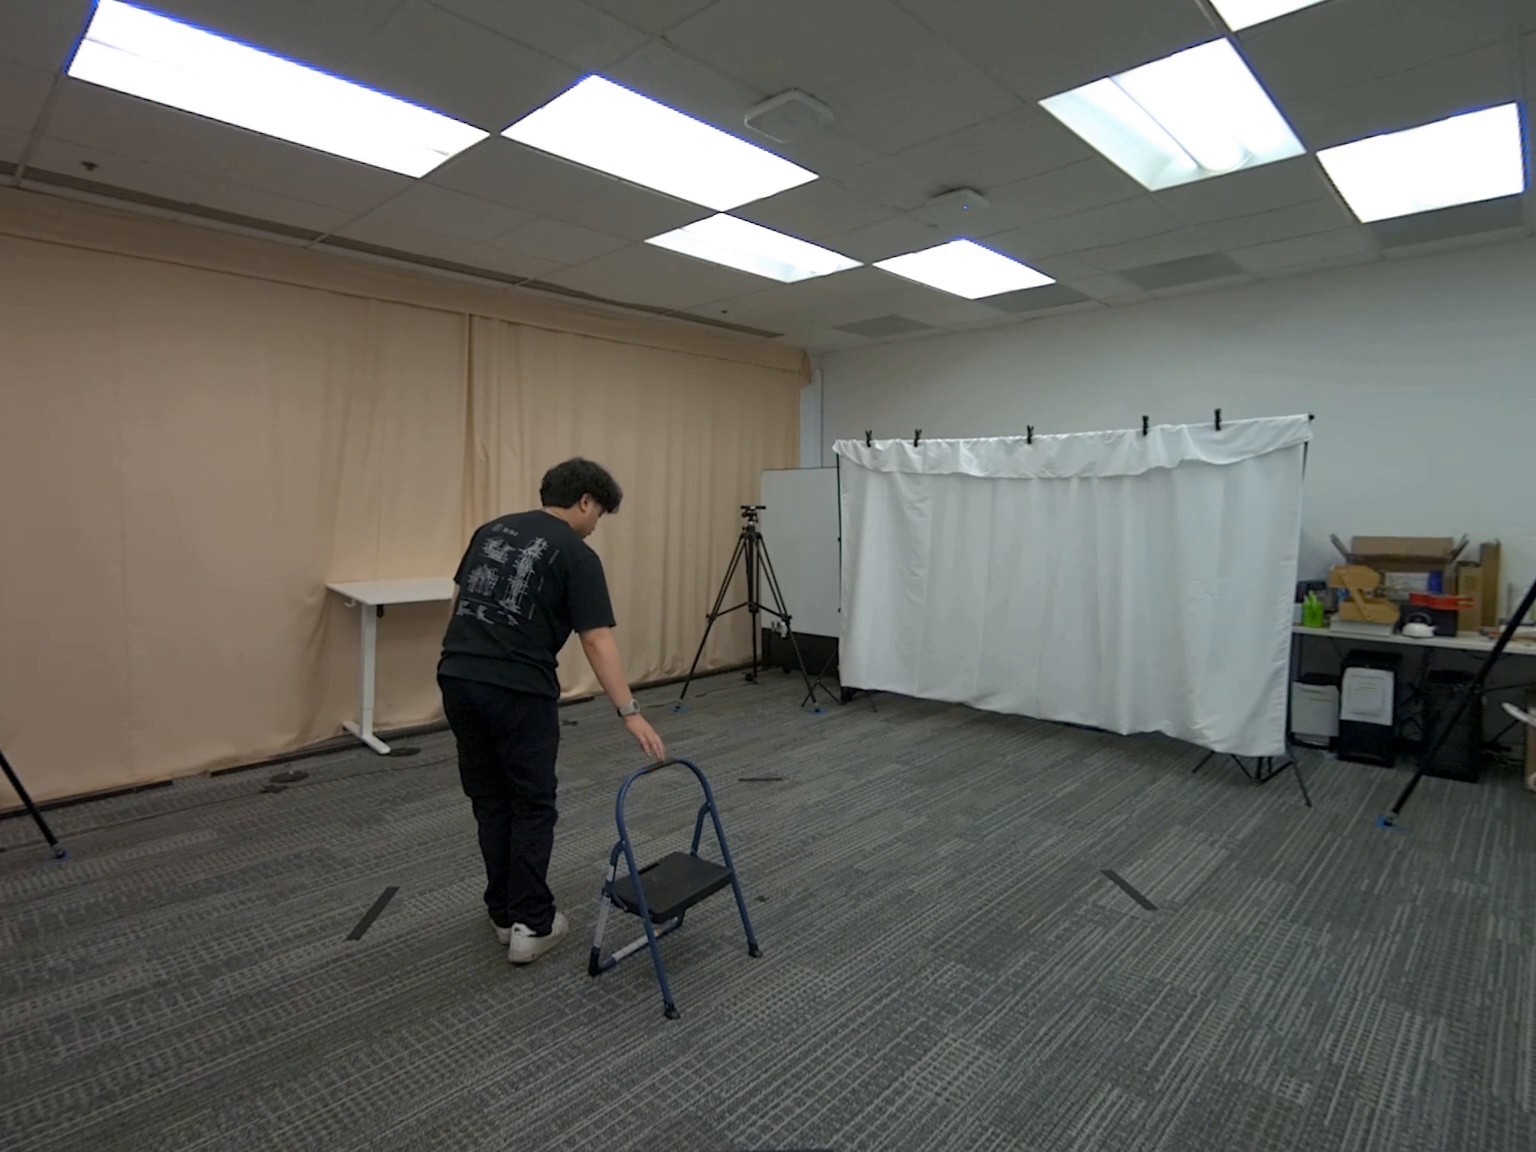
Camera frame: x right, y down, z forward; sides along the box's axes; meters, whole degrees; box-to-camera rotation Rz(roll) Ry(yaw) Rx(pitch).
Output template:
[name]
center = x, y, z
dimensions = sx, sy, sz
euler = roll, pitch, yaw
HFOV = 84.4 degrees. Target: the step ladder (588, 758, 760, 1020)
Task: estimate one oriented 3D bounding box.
[step ladder]
center = -0.275, 0.879, 2.535
dimensions = 0.360, 0.605, 0.418
euler = 2, 4, 36
